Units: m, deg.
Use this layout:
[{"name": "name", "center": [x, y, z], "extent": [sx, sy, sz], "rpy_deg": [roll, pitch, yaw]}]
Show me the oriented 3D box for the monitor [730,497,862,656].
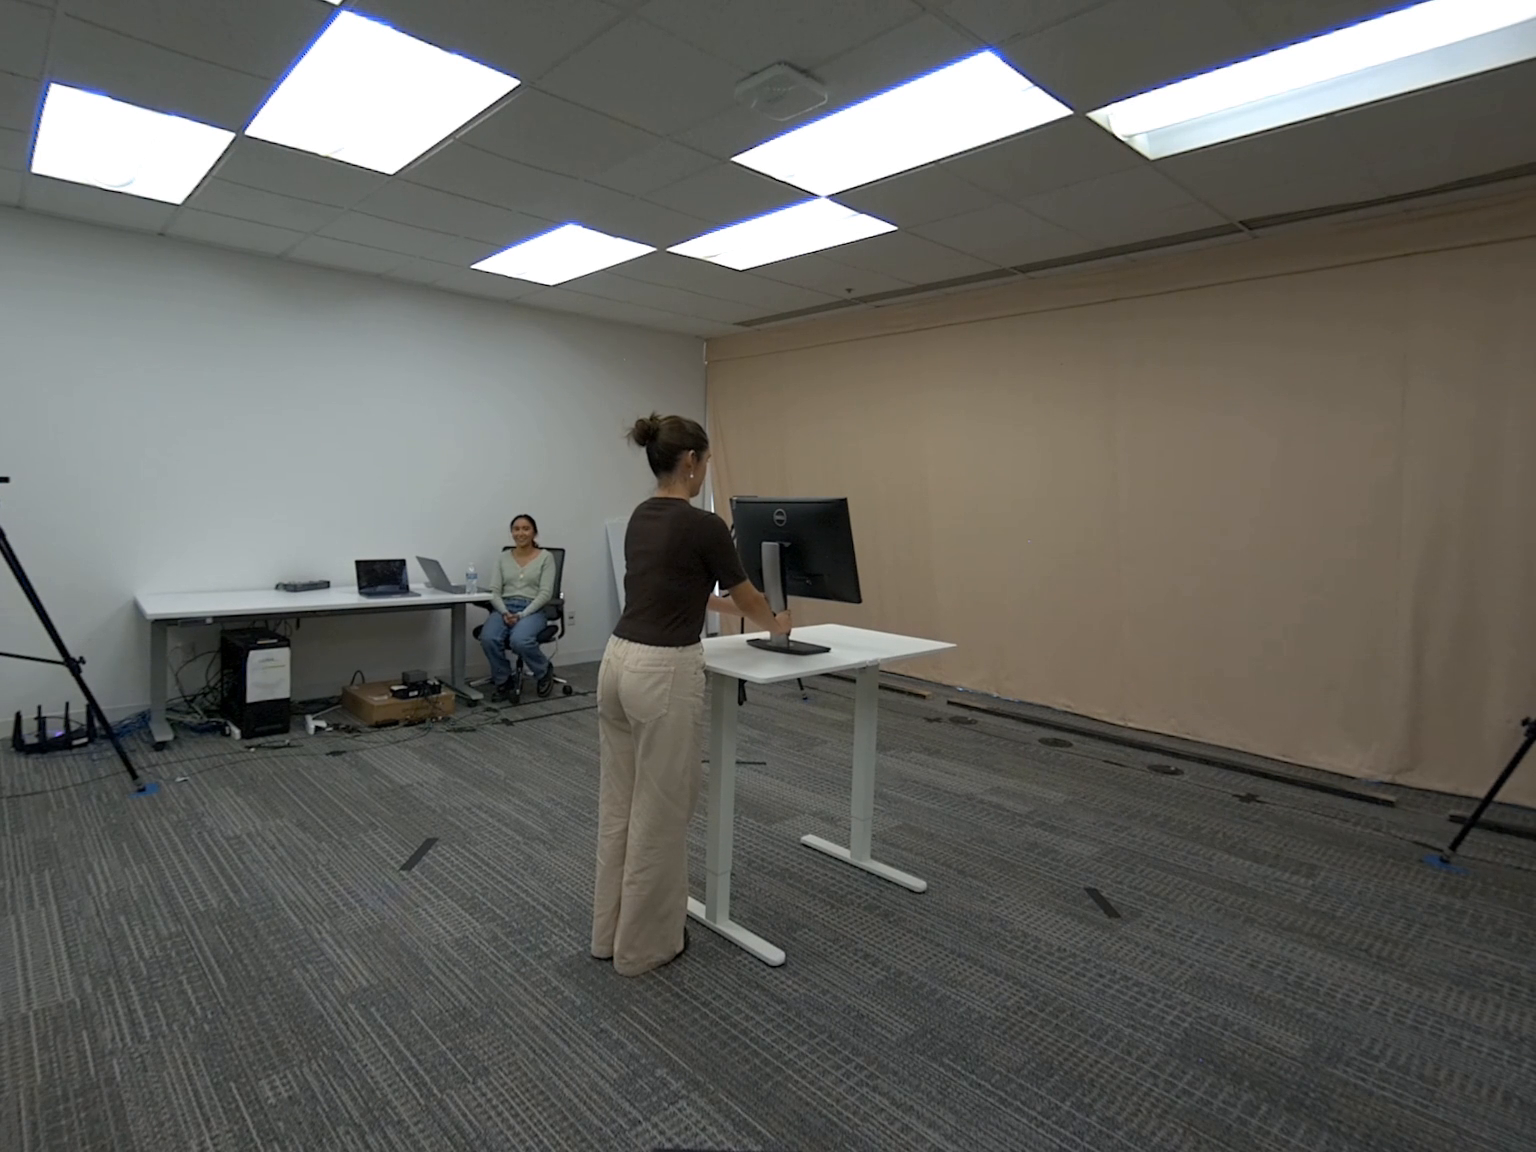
[{"name": "monitor", "center": [0.059, -0.007, 2.852], "extent": [0.170, 0.516, 0.543], "rpy_deg": [3, 0, -45]}]
